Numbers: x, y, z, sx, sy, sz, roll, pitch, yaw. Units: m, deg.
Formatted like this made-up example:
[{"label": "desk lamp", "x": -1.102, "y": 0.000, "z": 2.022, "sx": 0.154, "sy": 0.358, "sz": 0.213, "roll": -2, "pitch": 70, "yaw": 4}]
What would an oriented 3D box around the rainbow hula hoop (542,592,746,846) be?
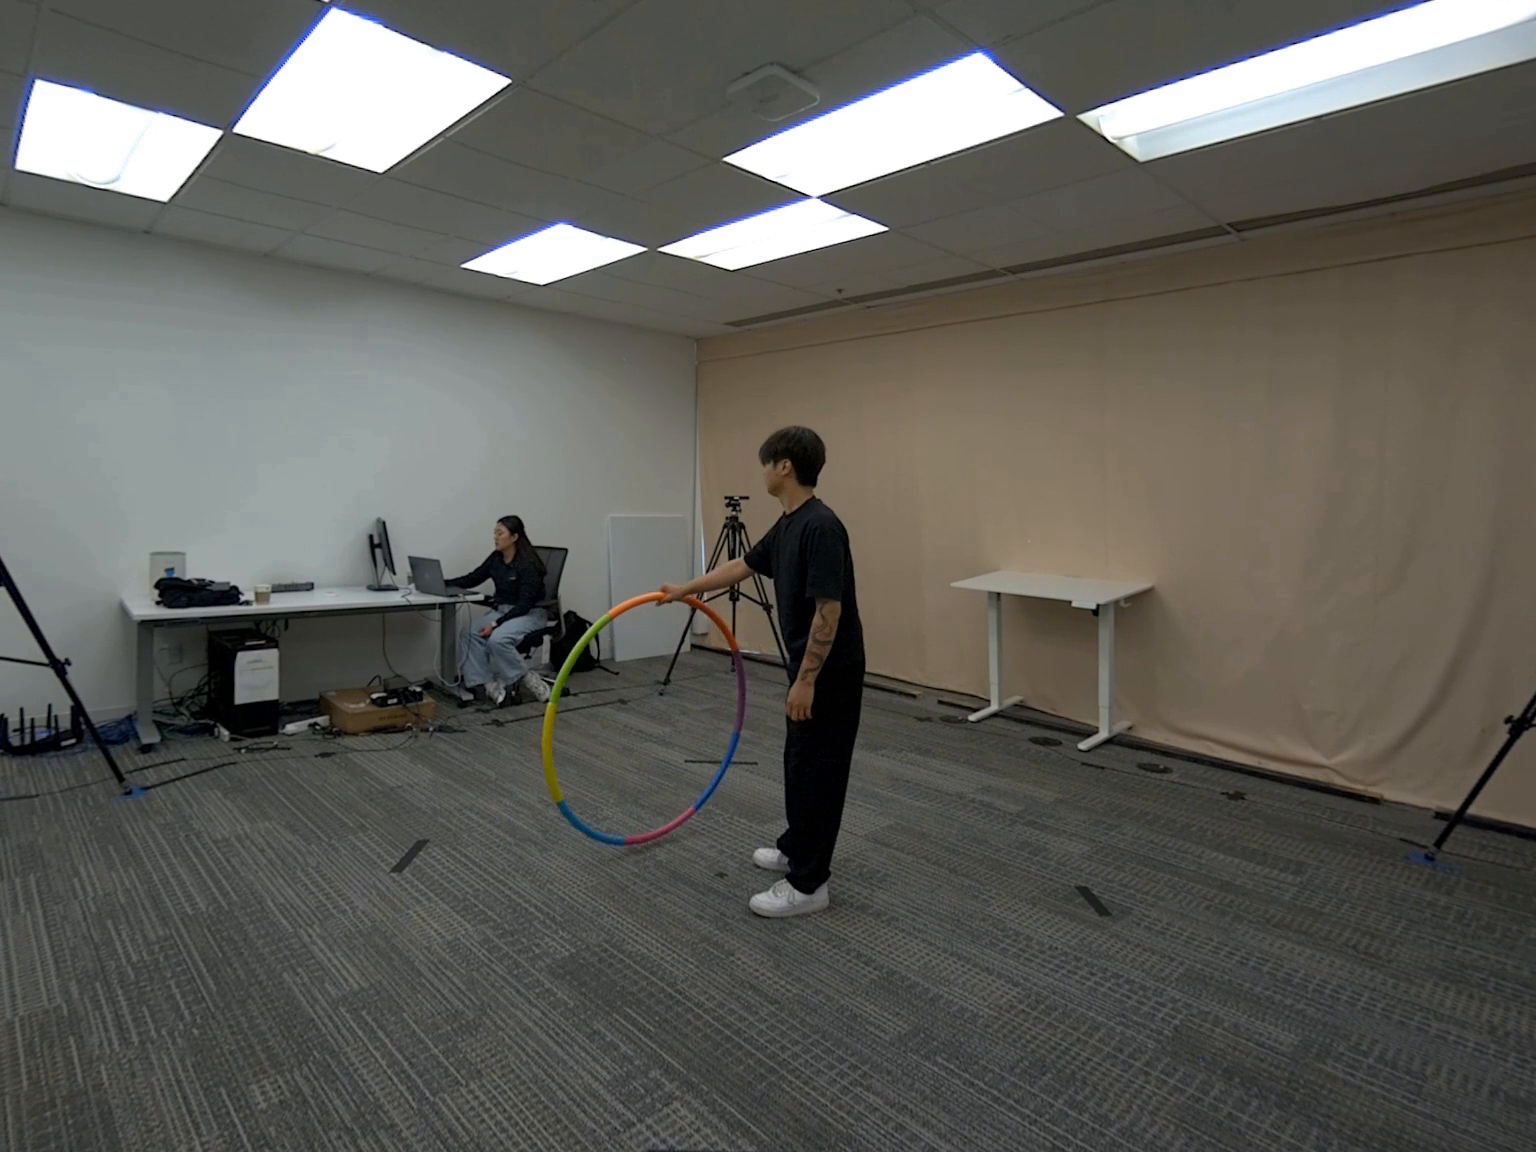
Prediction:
[{"label": "rainbow hula hoop", "x": -0.450, "y": 0.552, "z": 3.306, "sx": 0.956, "sy": 0.975, "sz": 0.036, "roll": -3, "pitch": 7, "yaw": -44}]
